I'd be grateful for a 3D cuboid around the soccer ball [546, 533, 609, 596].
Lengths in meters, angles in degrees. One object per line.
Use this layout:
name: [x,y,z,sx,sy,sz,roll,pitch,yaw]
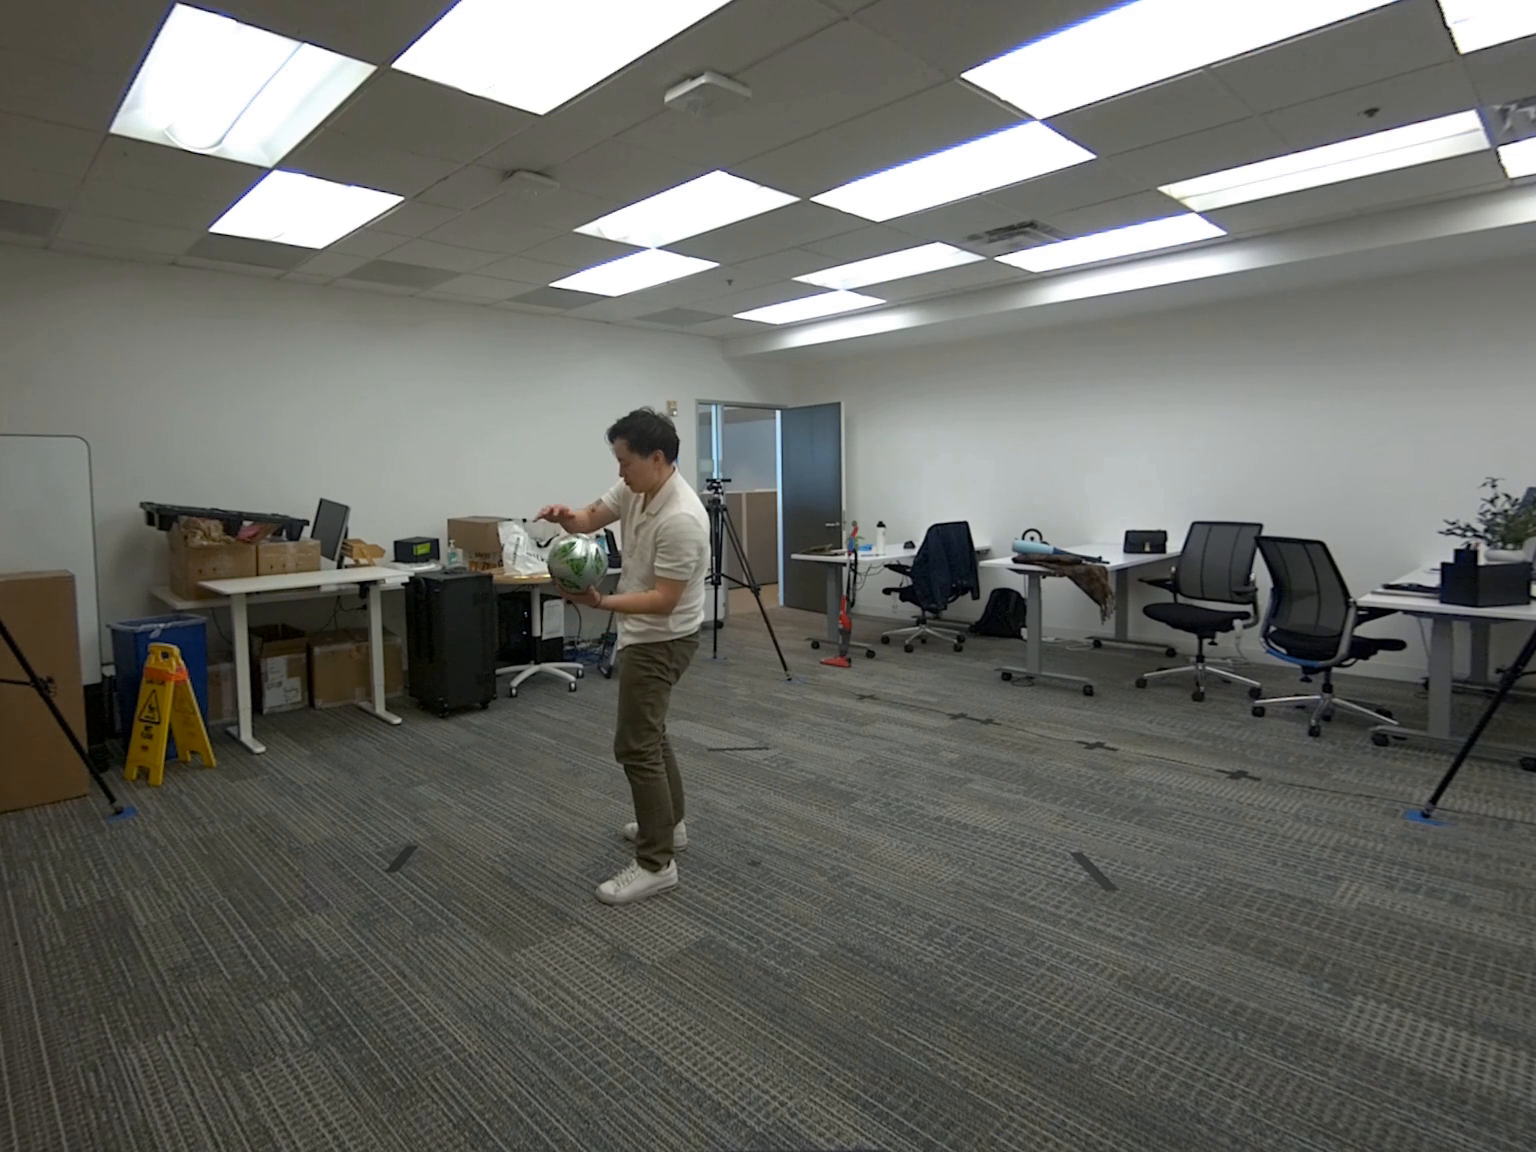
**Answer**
soccer ball: [-0.590,-0.037,2.678,0.187,0.187,0.188,-1,5,-2]
